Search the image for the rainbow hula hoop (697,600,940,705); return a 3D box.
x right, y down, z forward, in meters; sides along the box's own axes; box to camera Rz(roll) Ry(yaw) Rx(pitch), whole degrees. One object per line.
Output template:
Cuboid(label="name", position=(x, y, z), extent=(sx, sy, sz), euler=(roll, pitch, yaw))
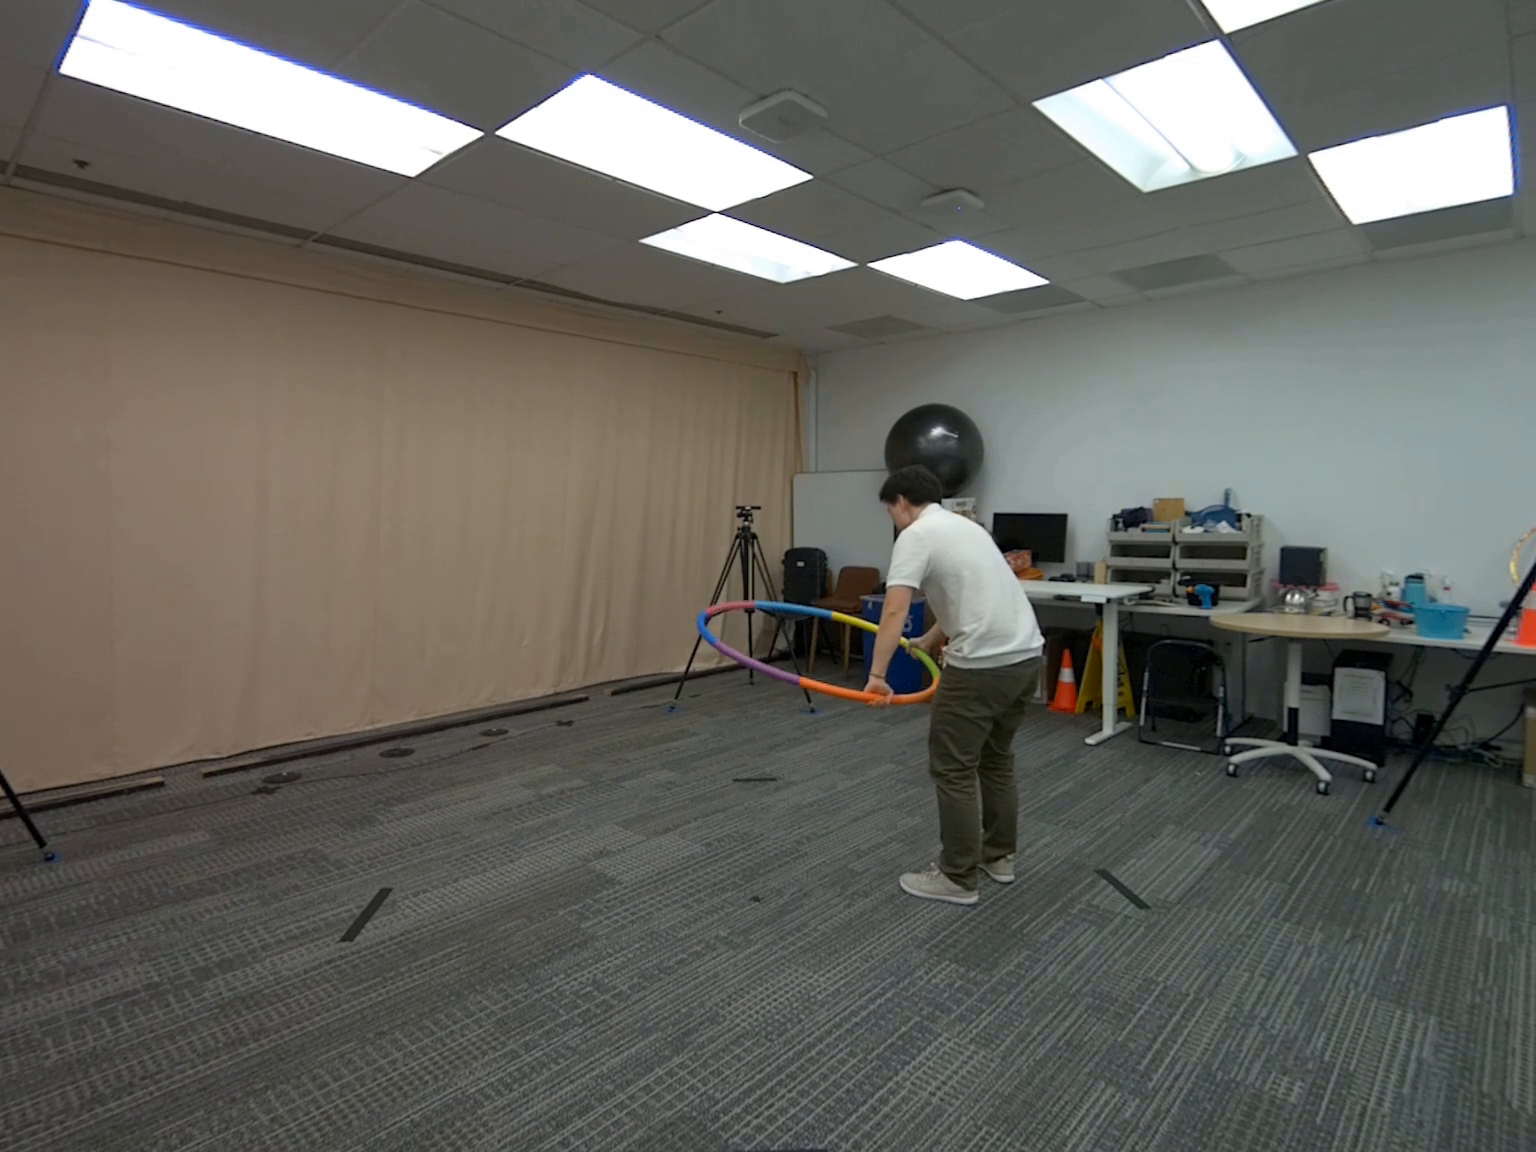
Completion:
Cuboid(label="rainbow hula hoop", position=(0.227, 0.283, 3.347), extent=(0.974, 0.035, 0.989), euler=(11, 15, -5))
